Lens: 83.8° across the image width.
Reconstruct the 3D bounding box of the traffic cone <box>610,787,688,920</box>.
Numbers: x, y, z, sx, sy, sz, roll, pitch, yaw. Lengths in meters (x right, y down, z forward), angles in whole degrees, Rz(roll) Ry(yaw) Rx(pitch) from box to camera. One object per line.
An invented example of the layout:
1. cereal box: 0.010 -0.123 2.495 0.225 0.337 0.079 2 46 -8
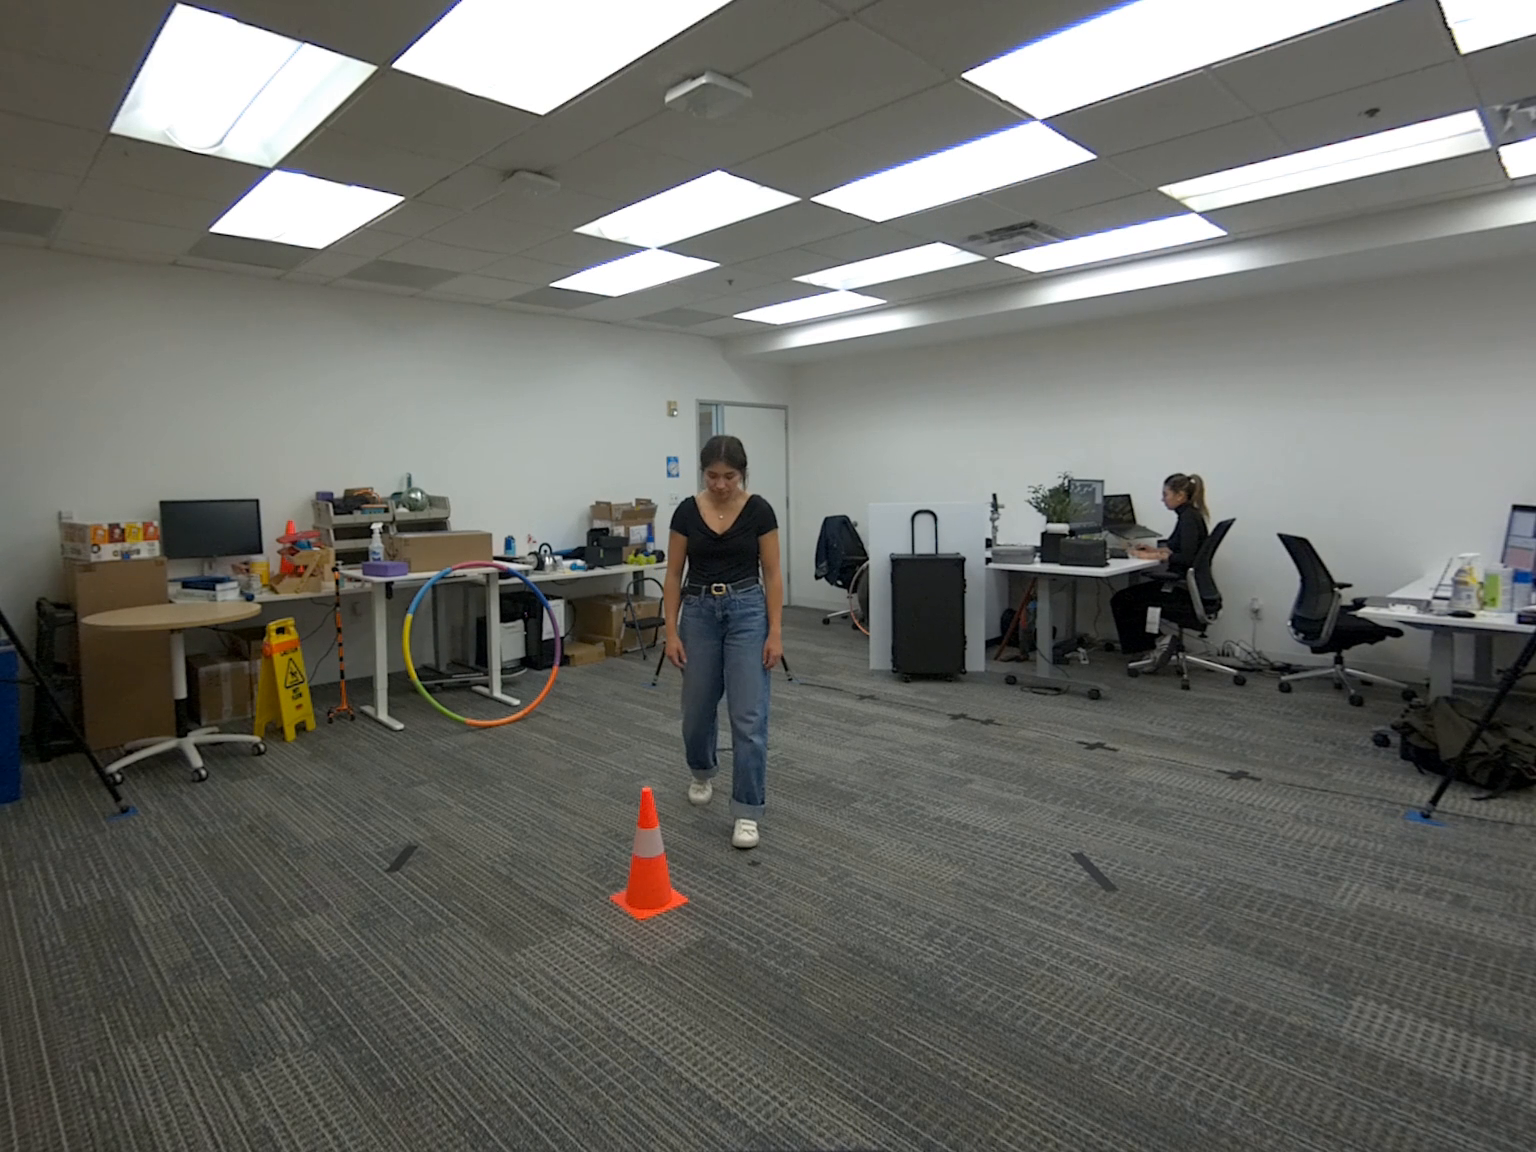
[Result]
1. traffic cone: -0.399 0.897 2.840 0.200 0.382 0.209 -4 6 -34
